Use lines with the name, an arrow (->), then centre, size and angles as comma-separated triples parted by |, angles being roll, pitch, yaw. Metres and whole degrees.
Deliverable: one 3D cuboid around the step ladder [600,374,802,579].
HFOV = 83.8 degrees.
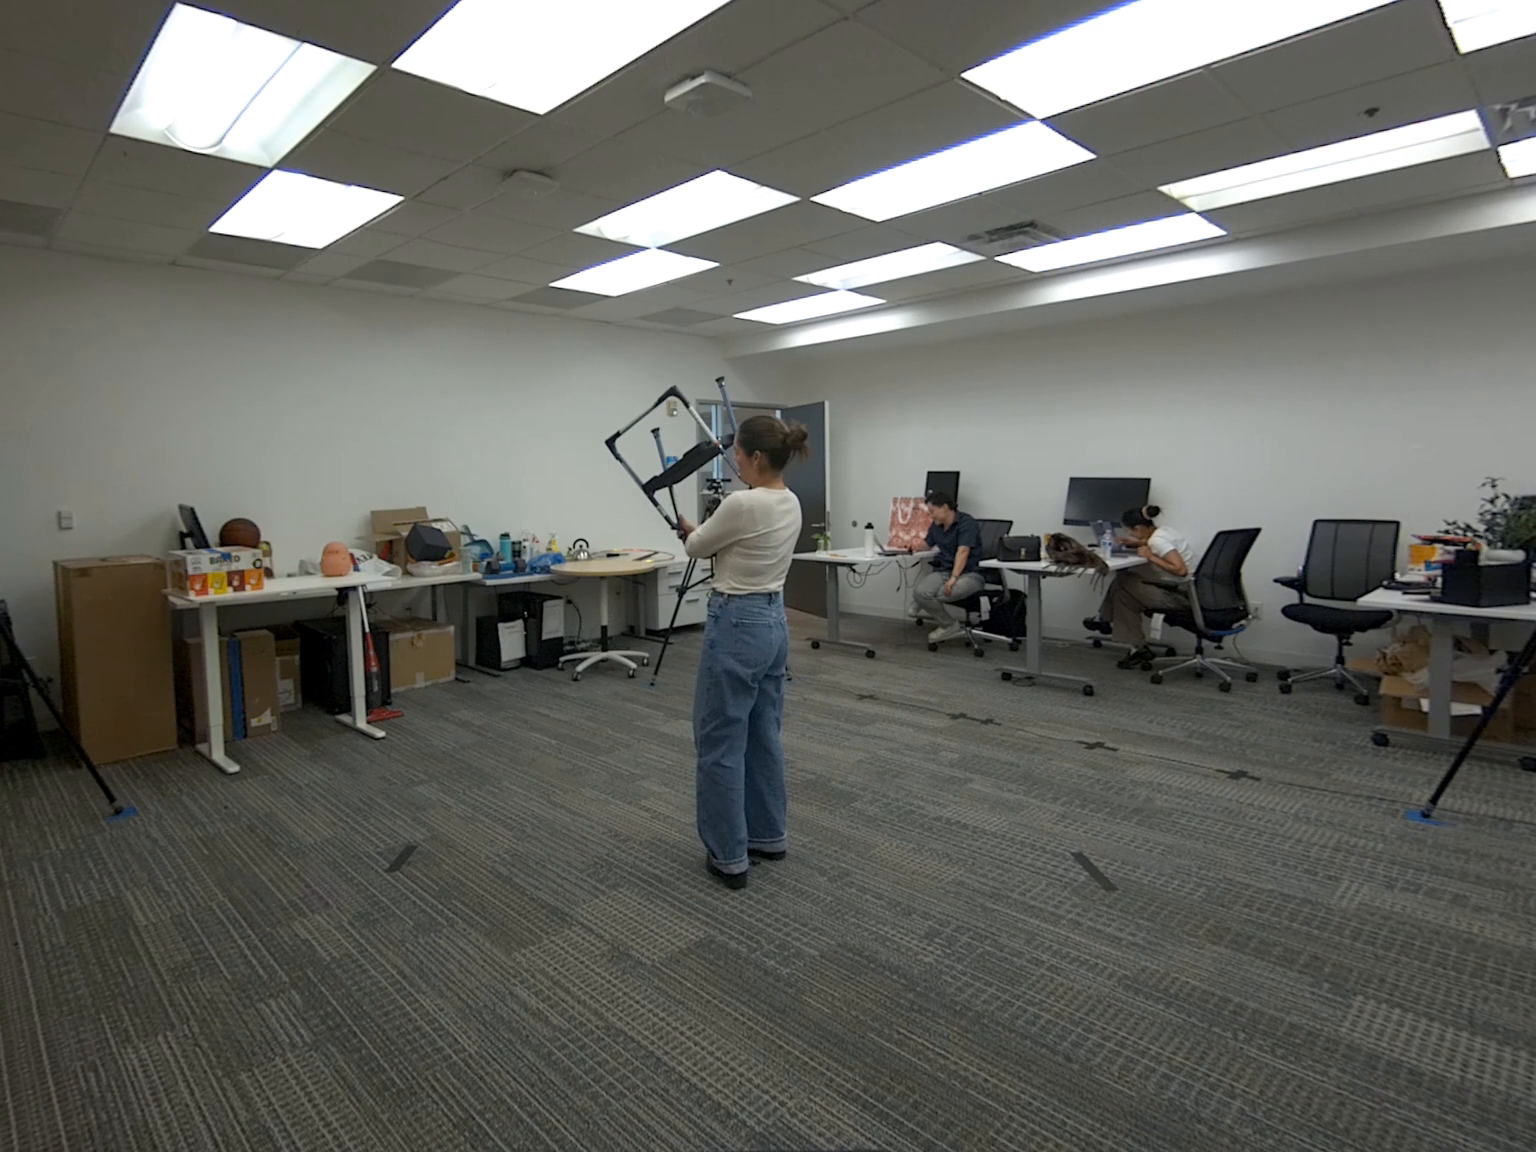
step ladder -> -0.263, -0.391, 3.317 | 0.435, 0.609, 0.344 | -31, -4, 35
